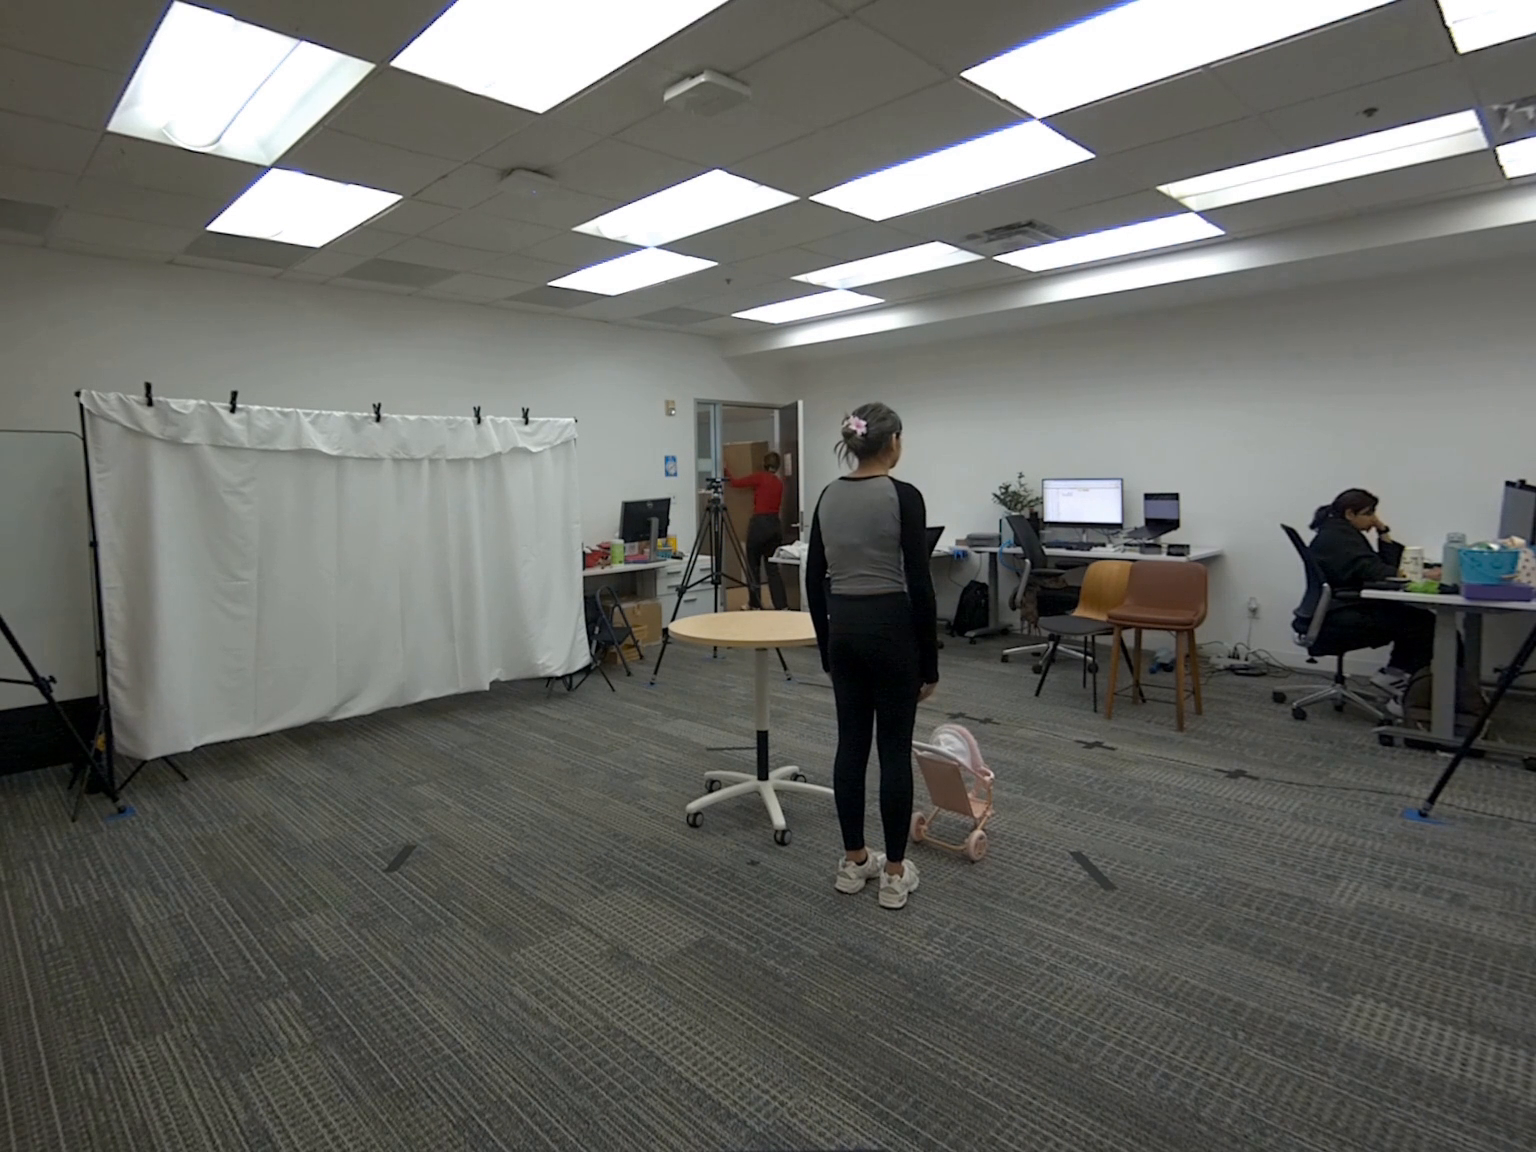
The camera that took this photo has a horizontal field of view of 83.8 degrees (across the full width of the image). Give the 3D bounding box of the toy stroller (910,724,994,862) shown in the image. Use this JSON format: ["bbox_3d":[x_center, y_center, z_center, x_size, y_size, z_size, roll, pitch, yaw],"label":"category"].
[{"bbox_3d":[0.708,0.793,3.215,0.336,0.527,0.290,-24,18,-39],"label":"toy stroller"}]
